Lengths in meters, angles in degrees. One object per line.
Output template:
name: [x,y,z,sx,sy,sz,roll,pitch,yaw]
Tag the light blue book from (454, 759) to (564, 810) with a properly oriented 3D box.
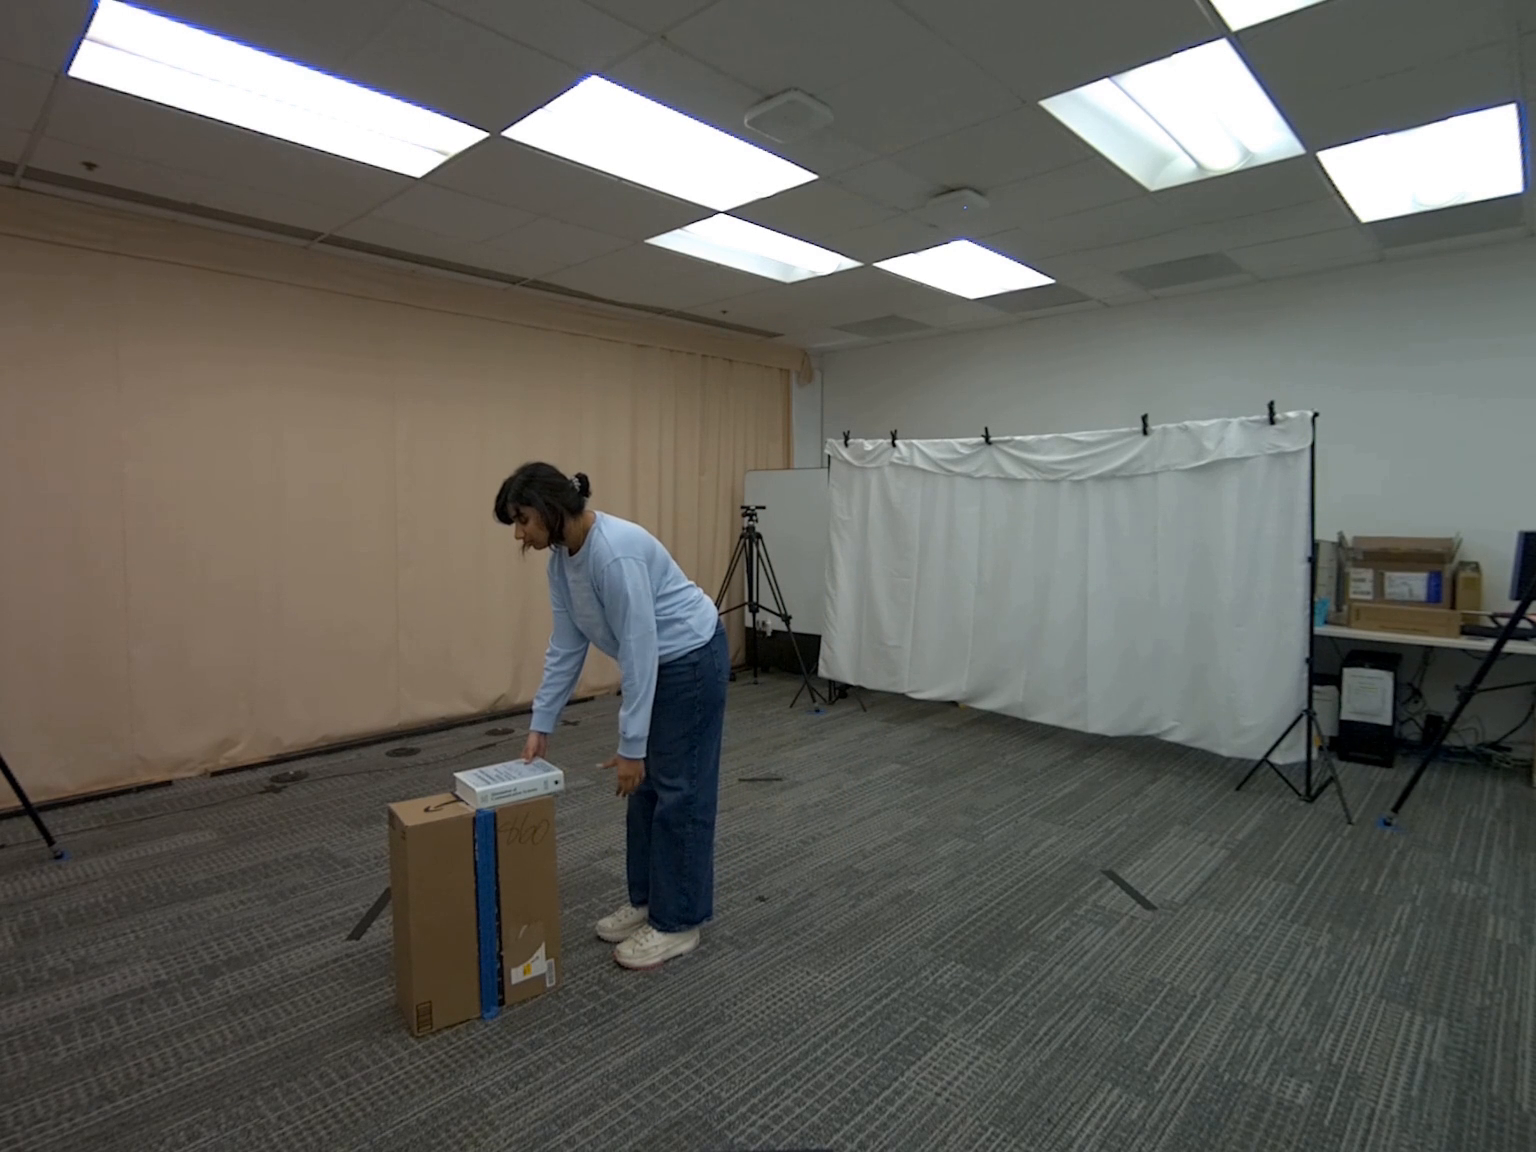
light blue book: [-0.750,0.597,2.452,0.253,0.059,0.197,-5,6,-38]
